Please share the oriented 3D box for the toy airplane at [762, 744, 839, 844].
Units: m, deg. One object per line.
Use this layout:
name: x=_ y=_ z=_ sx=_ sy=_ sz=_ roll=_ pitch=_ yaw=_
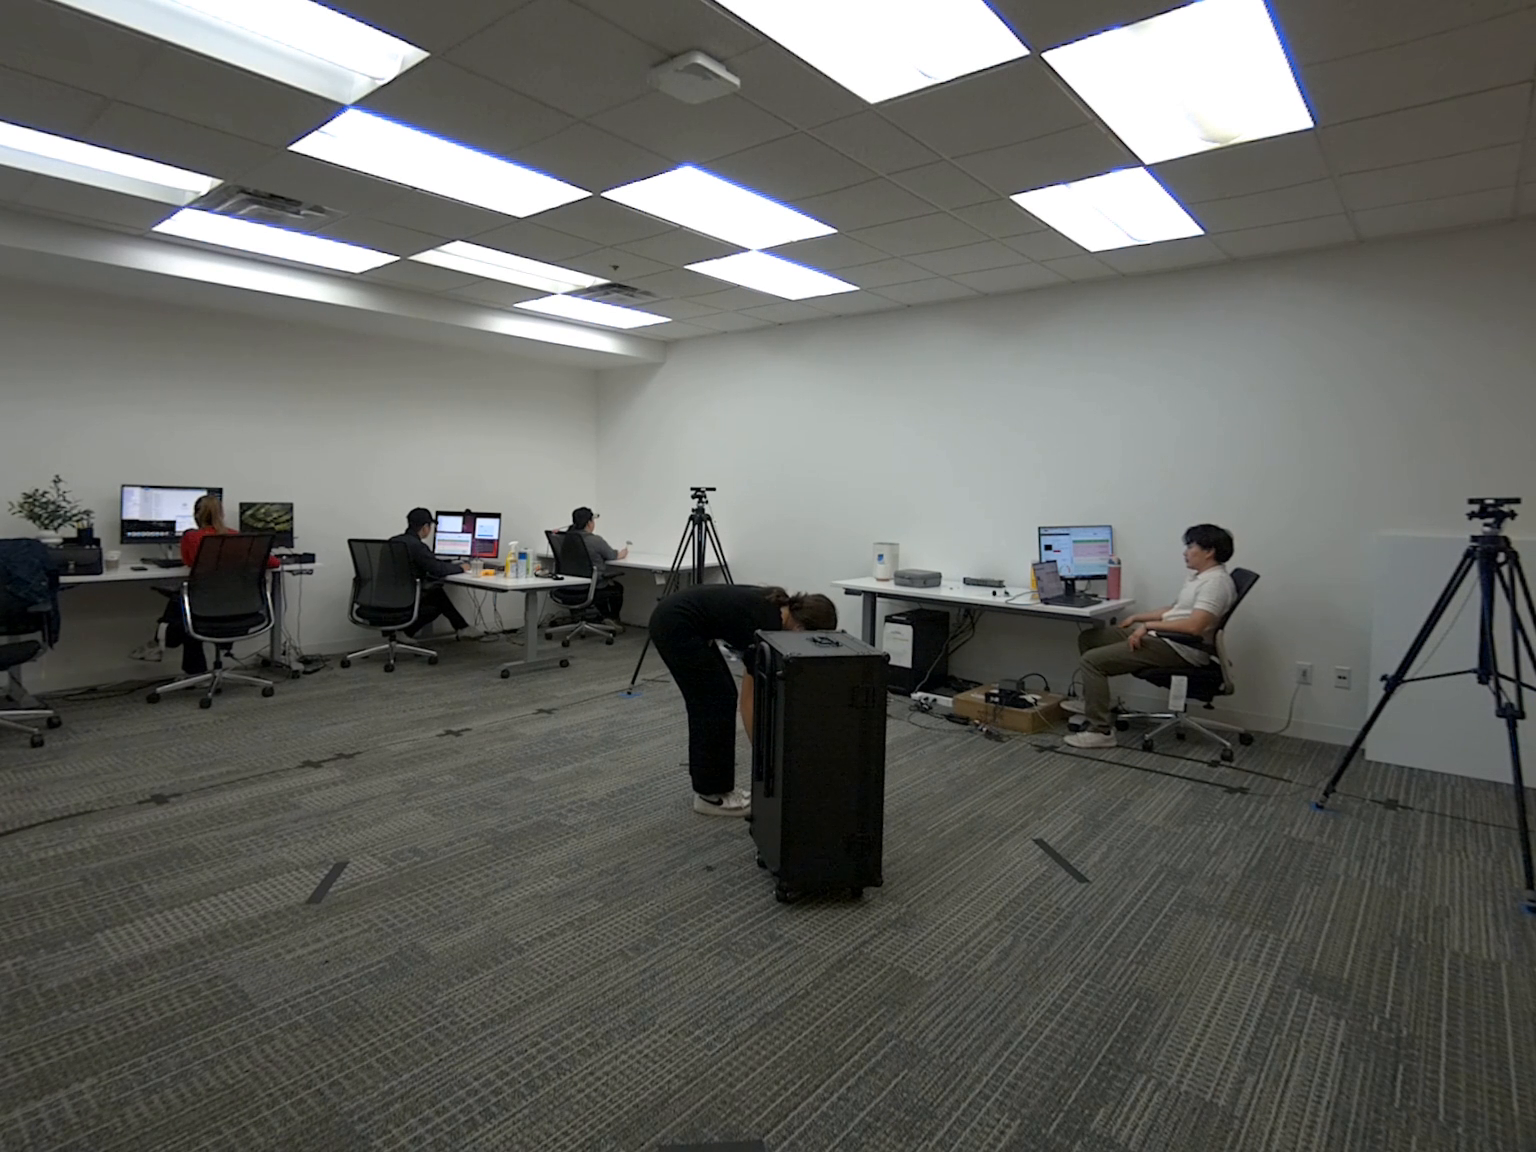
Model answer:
toy airplane: x=0.130 y=0.902 z=3.495 sx=0.156 sy=0.250 sz=0.260 roll=-30 pitch=31 yaw=2
